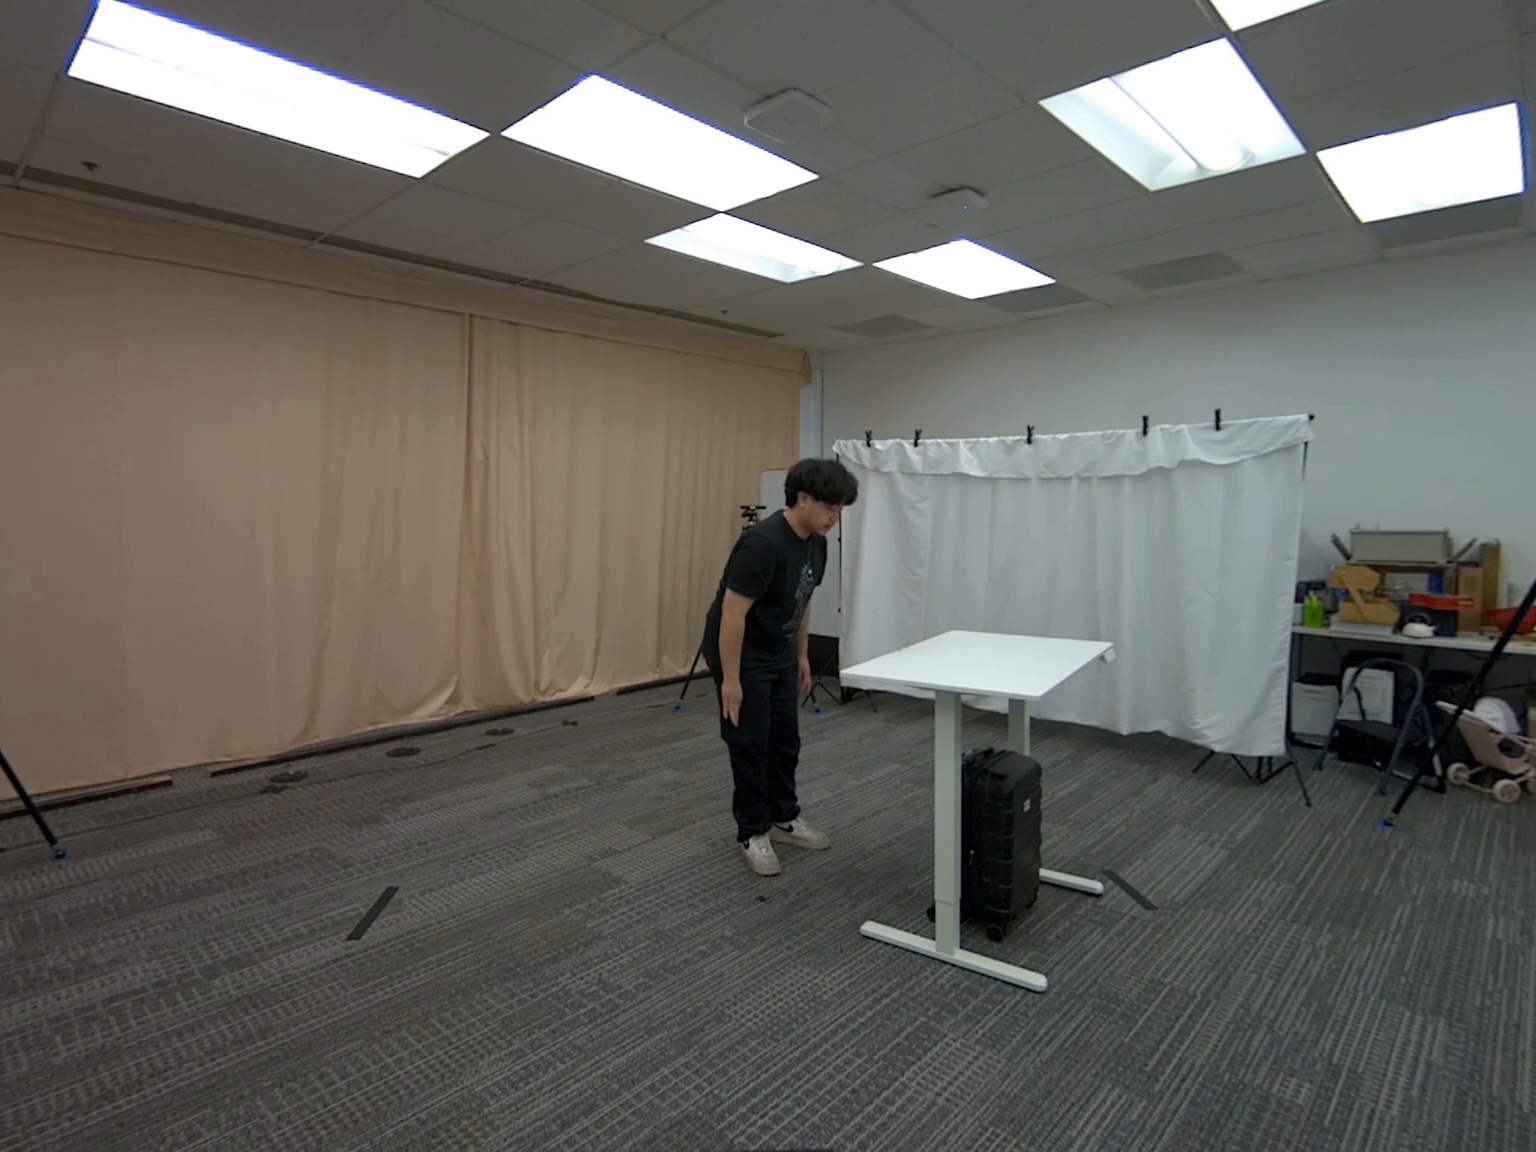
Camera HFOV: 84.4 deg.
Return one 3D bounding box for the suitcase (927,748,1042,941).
[{"bbox_3d":[0.761,0.887,2.848,0.256,0.547,0.365,6,8,35],"label":"suitcase"}]
